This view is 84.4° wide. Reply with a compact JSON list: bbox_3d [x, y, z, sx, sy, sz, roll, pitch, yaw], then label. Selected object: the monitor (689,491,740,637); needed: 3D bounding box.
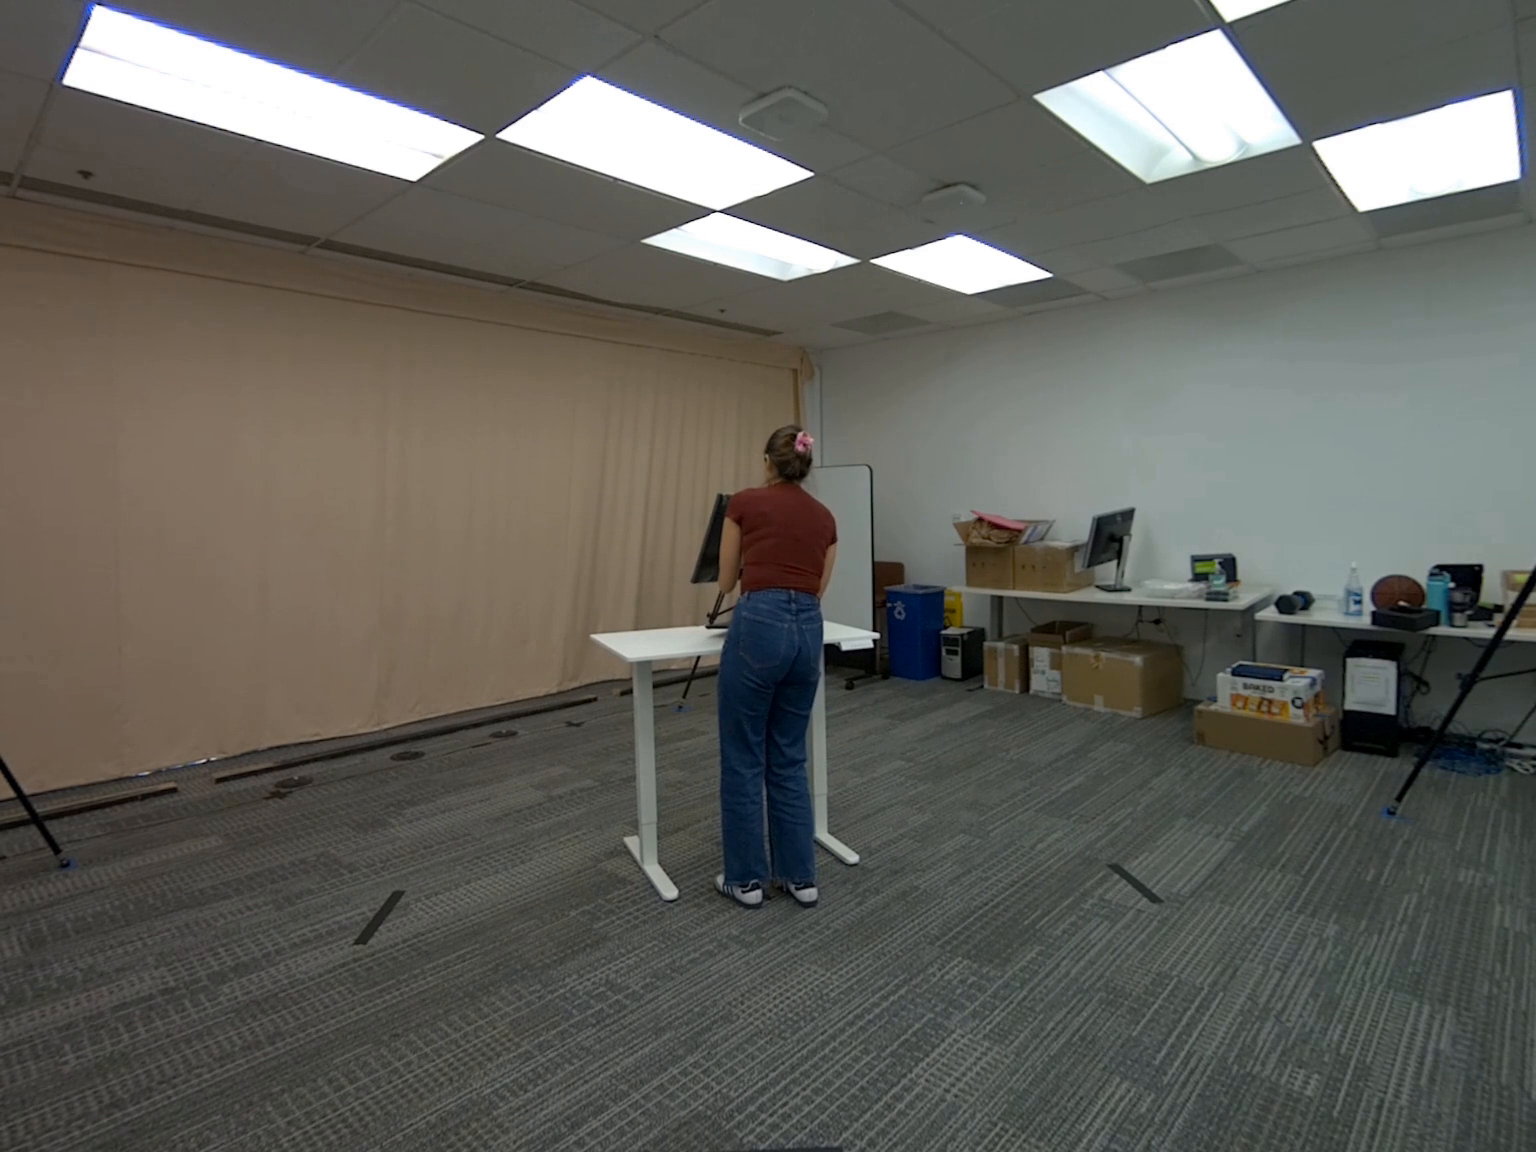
[{"bbox_3d":[-0.113,-0.052,3.341,0.191,0.522,0.529,3,1,16],"label":"monitor"}]
